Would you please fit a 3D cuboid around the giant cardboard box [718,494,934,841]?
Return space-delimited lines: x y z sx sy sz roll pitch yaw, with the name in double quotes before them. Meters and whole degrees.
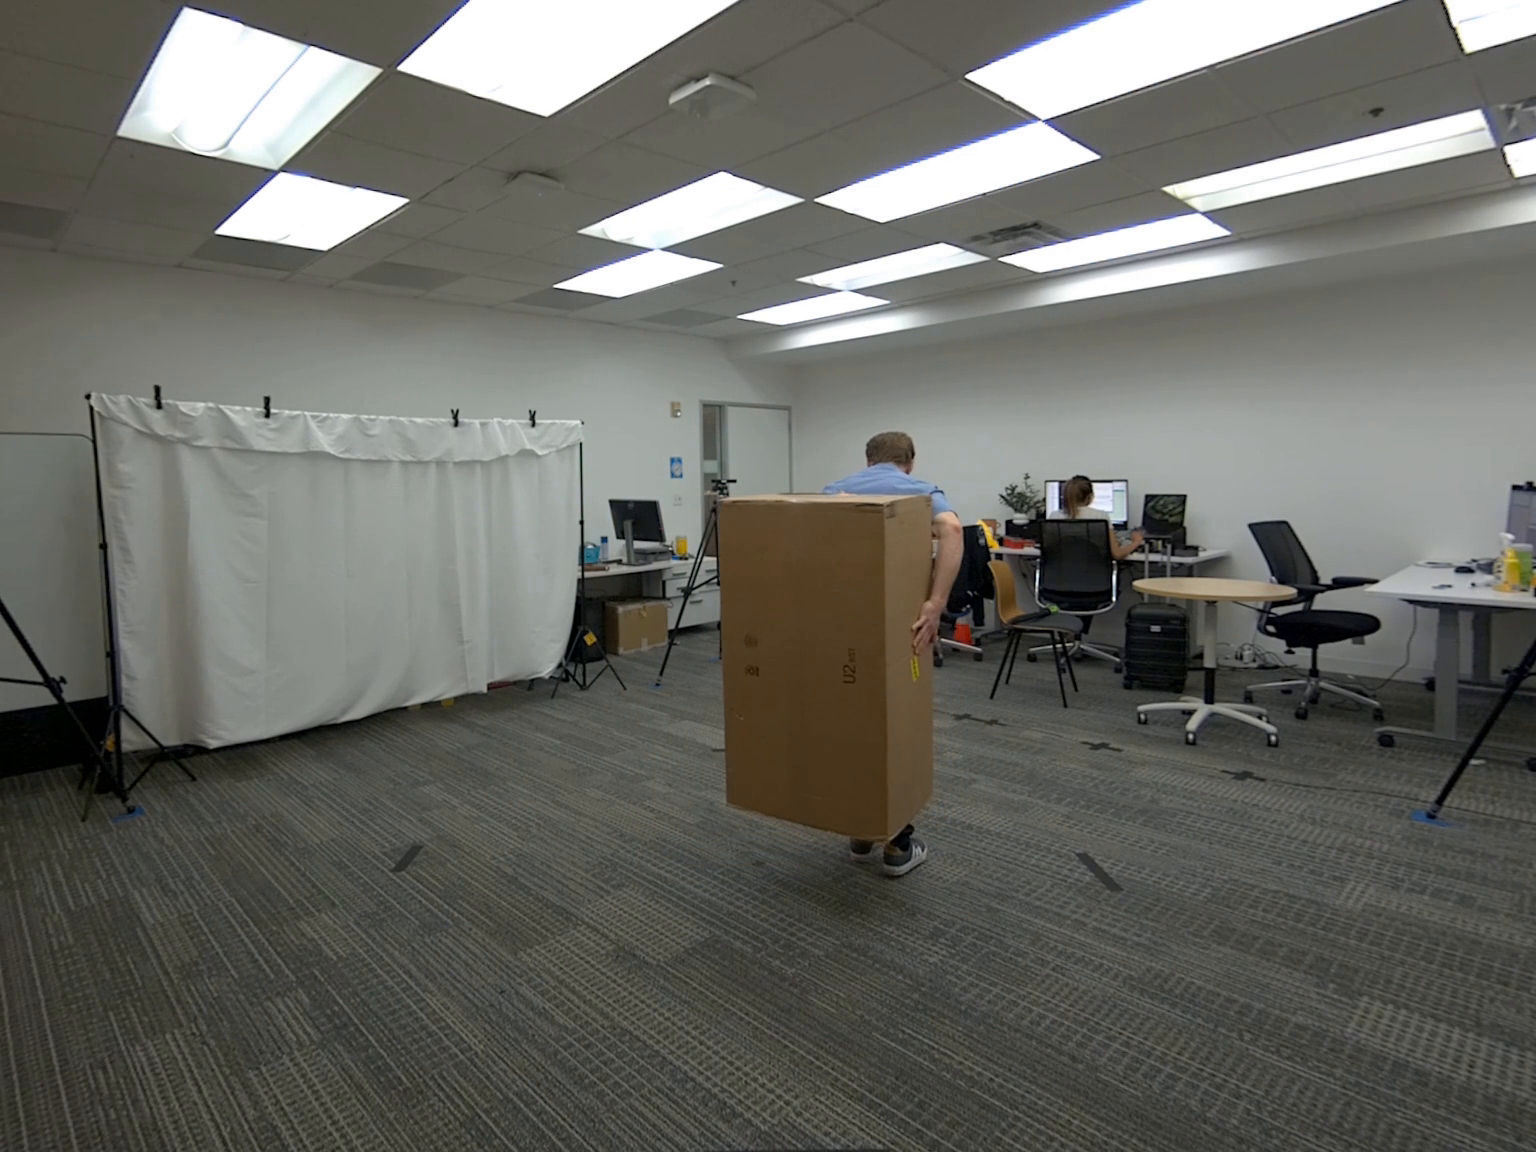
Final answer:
"giant cardboard box" 0.200 0.253 2.811 0.599 1.021 0.438 2 7 30
